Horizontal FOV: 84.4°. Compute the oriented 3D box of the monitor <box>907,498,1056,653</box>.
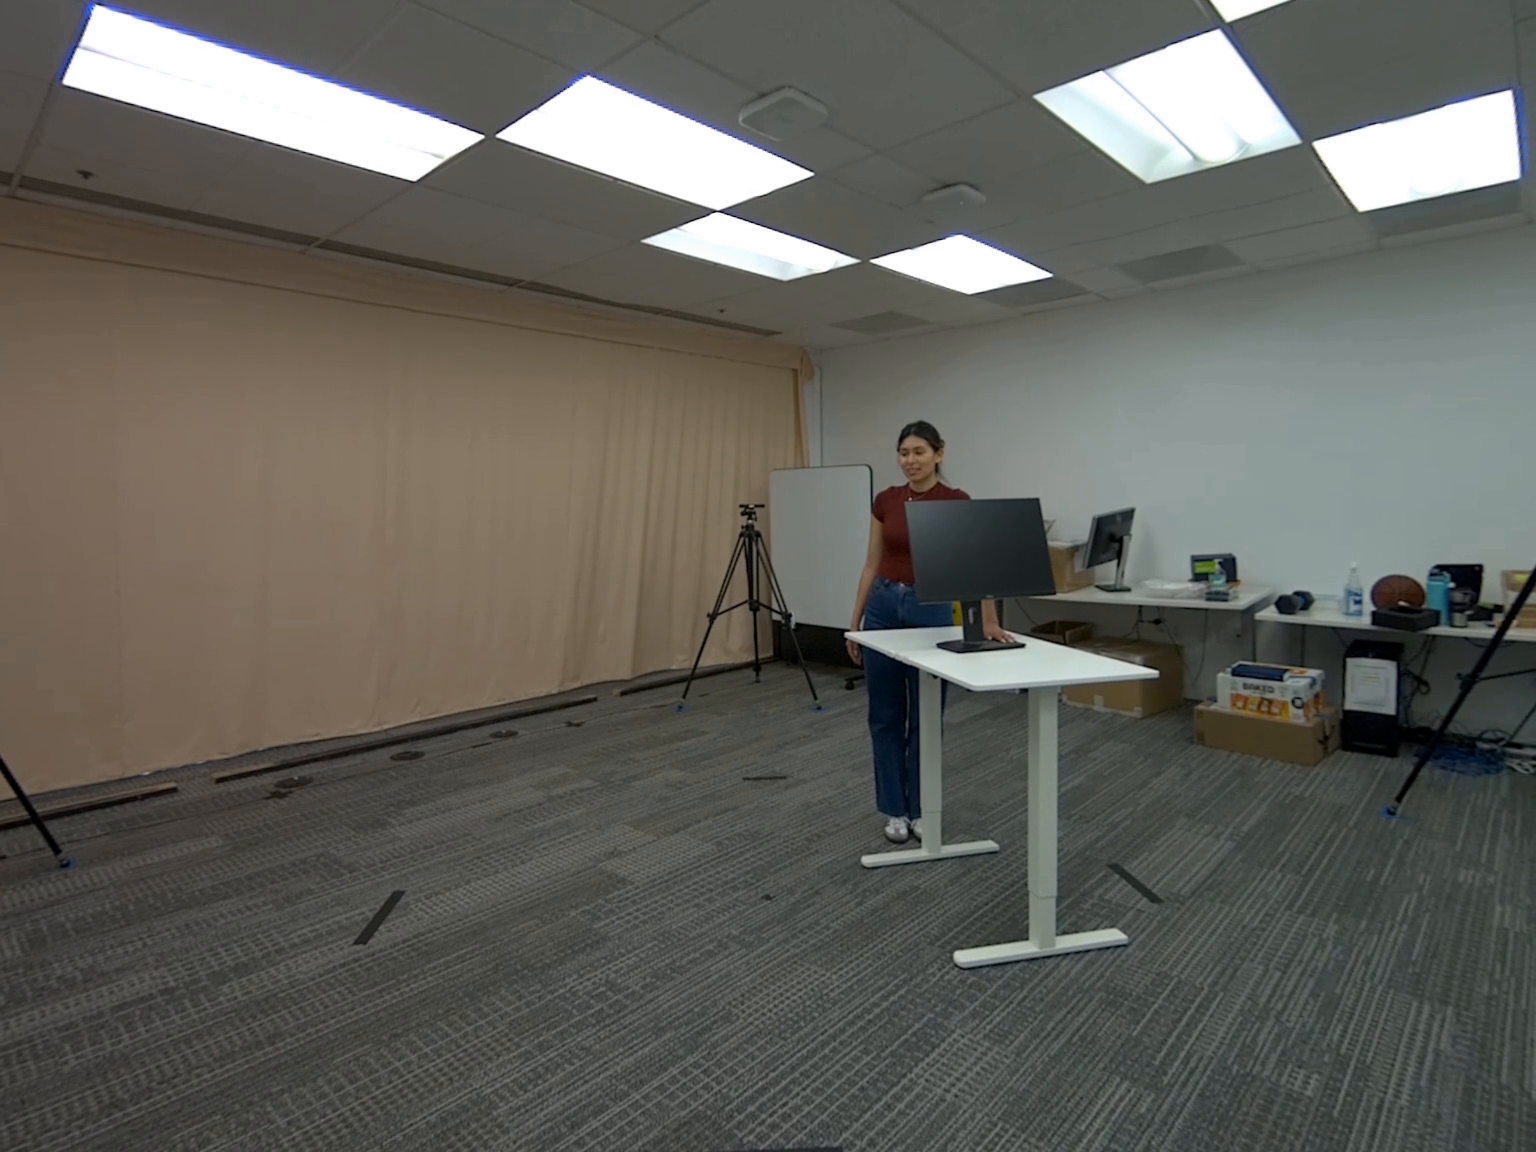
[{"bbox_3d":[0.736,-0.008,2.939,0.529,0.522,0.191,-3,2,-18],"label":"monitor"}]
